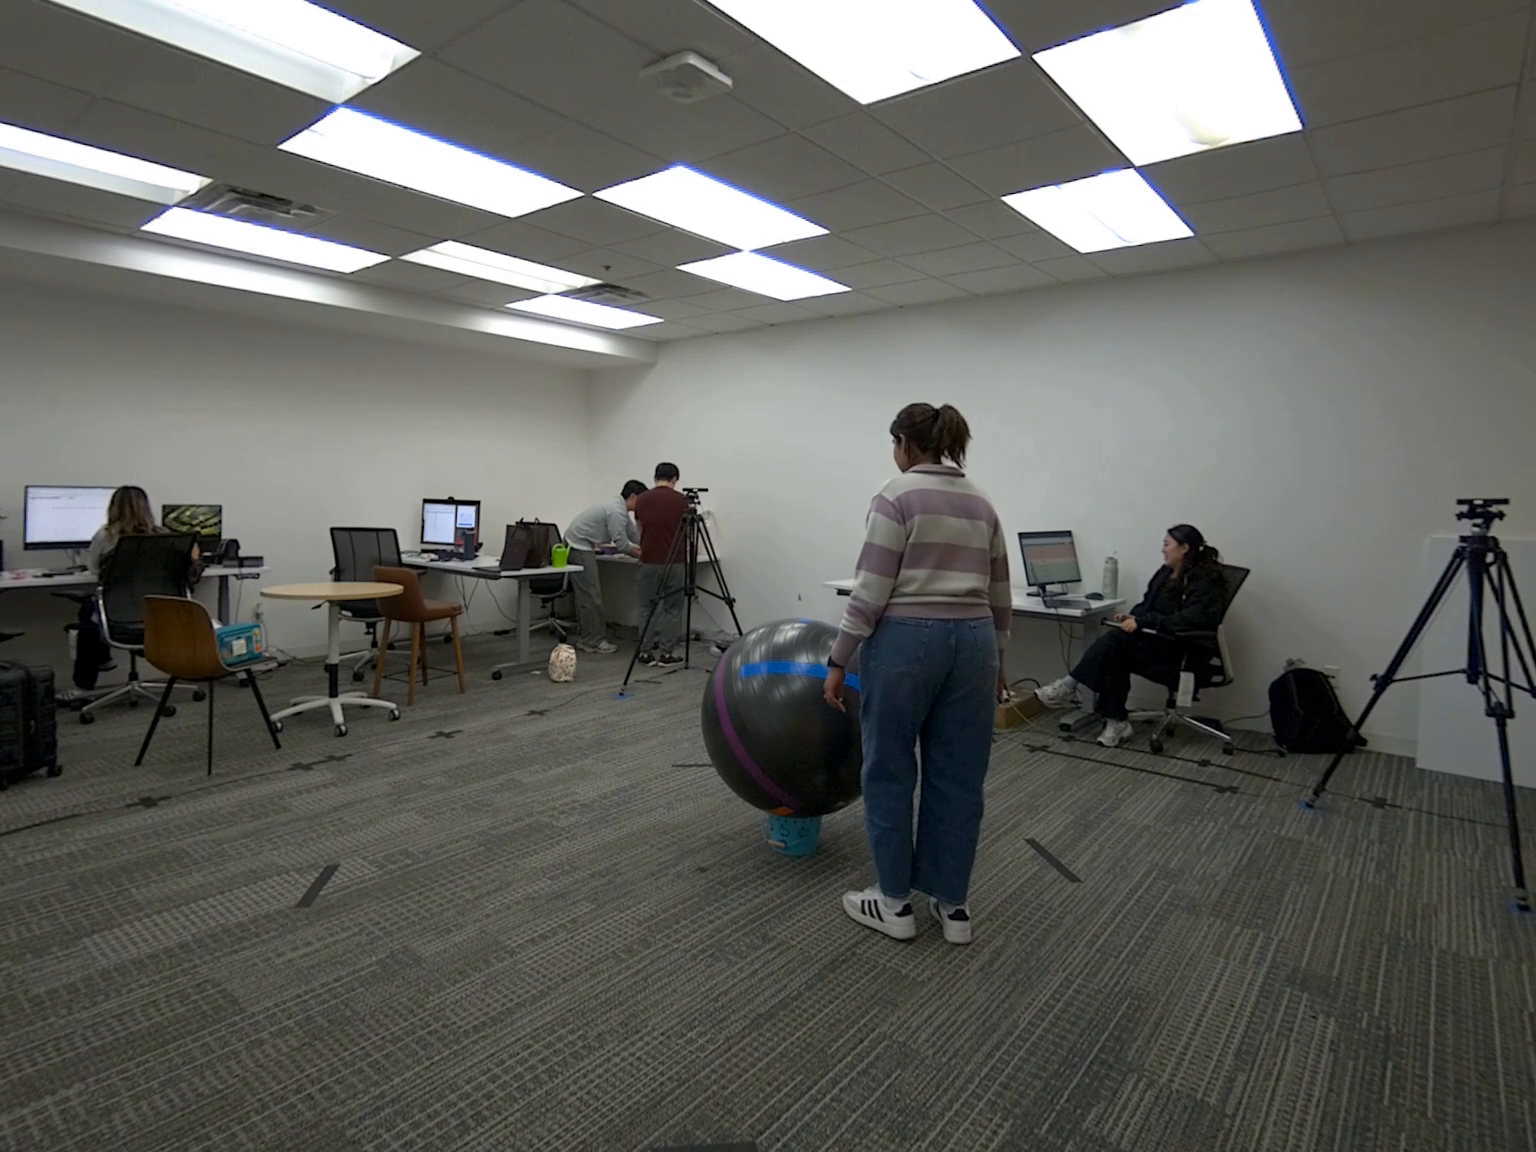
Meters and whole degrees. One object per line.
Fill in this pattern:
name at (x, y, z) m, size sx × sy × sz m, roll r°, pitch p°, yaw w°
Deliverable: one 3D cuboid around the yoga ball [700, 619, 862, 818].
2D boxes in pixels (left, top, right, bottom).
yoga ball at (0.116, 0.546, 3.317) m, size 0.757 × 0.755 × 0.762 m, roll 1°, pitch 4°, yaw -2°
